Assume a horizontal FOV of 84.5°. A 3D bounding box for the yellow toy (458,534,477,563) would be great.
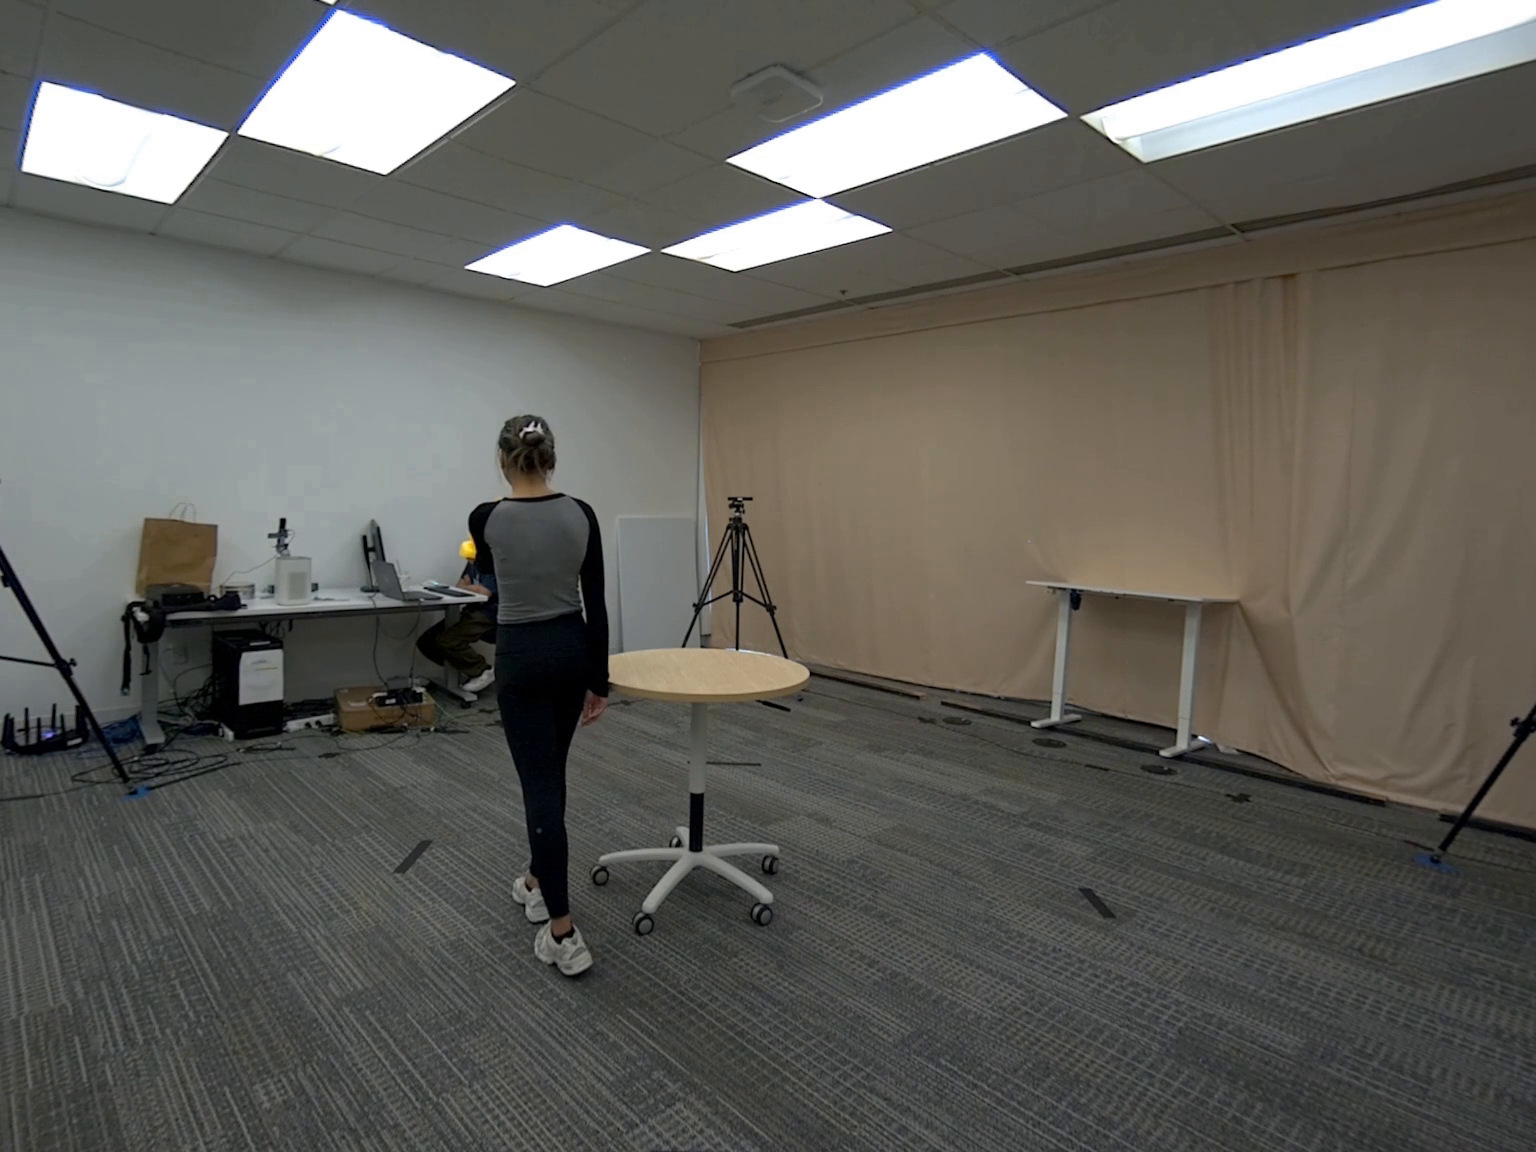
[{"bbox_3d":[-1.020,-0.174,3.111,0.200,0.231,0.197,7,-2,-32],"label":"yellow toy"}]
